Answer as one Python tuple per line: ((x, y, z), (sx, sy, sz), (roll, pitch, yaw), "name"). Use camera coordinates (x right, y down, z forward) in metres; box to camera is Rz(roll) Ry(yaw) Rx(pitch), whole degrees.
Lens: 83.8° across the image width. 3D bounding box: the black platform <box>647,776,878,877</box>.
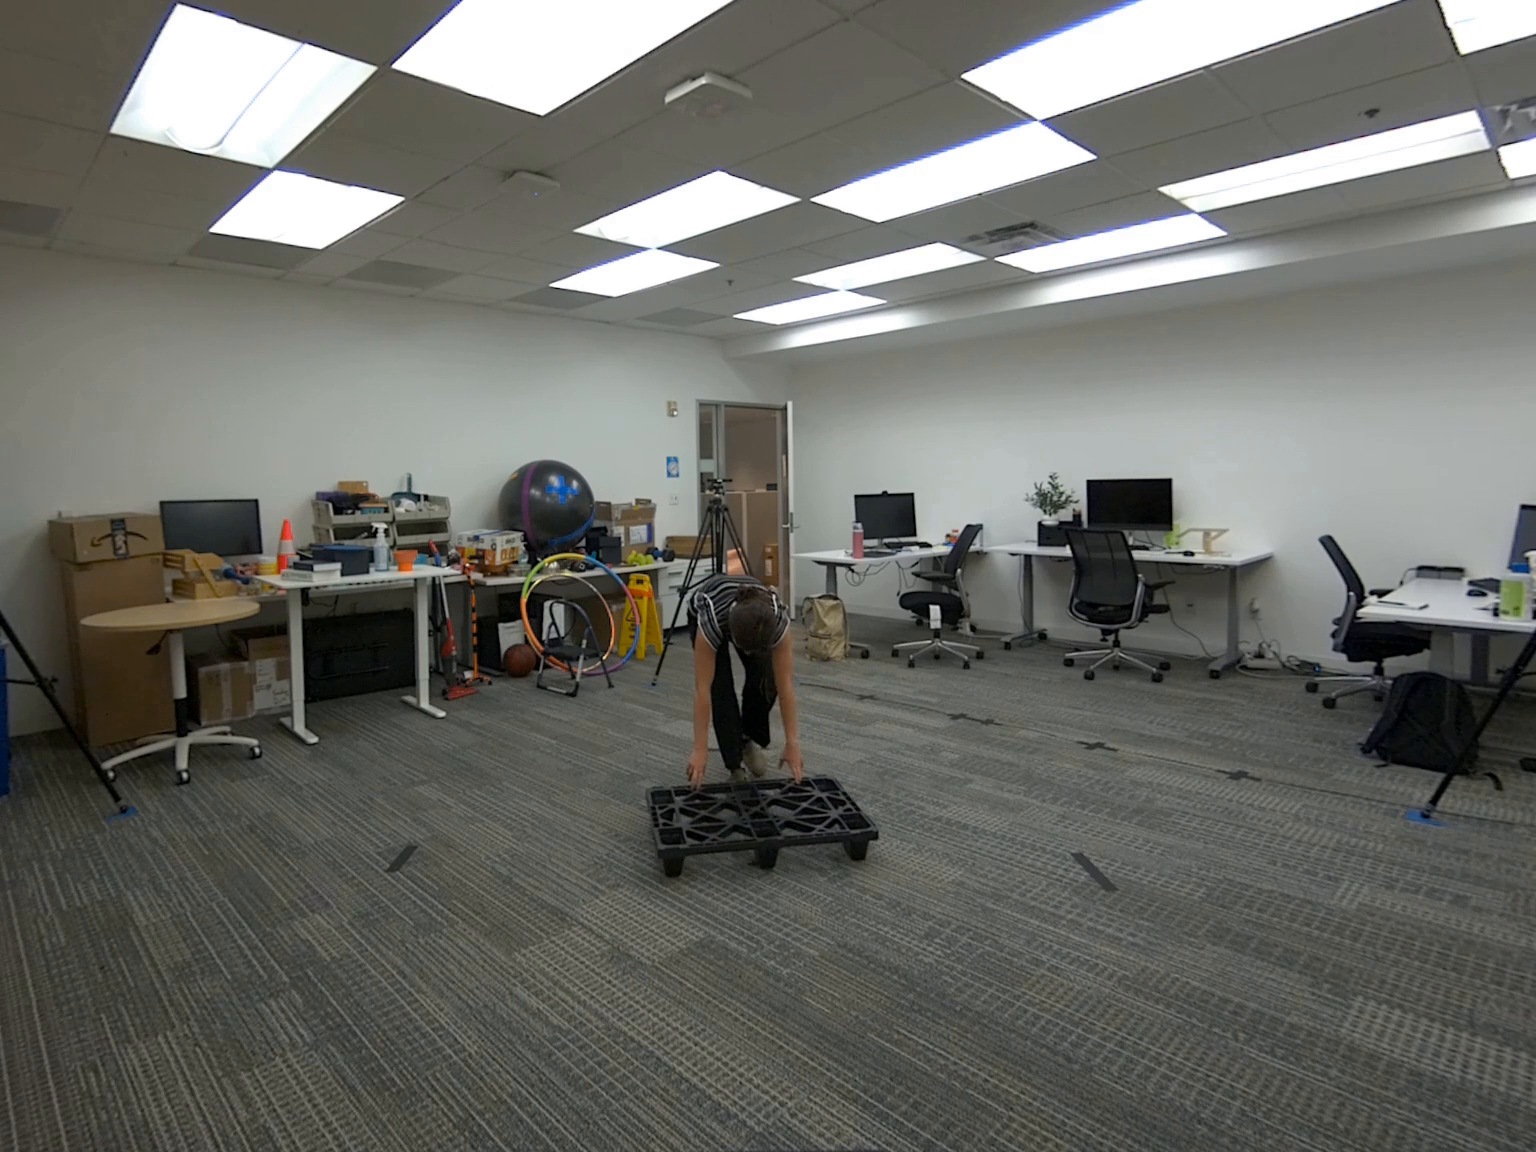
((-0.045, 0.956, 3.282), (0.798, 0.142, 0.613), (-2, 7, -10), "black platform")
